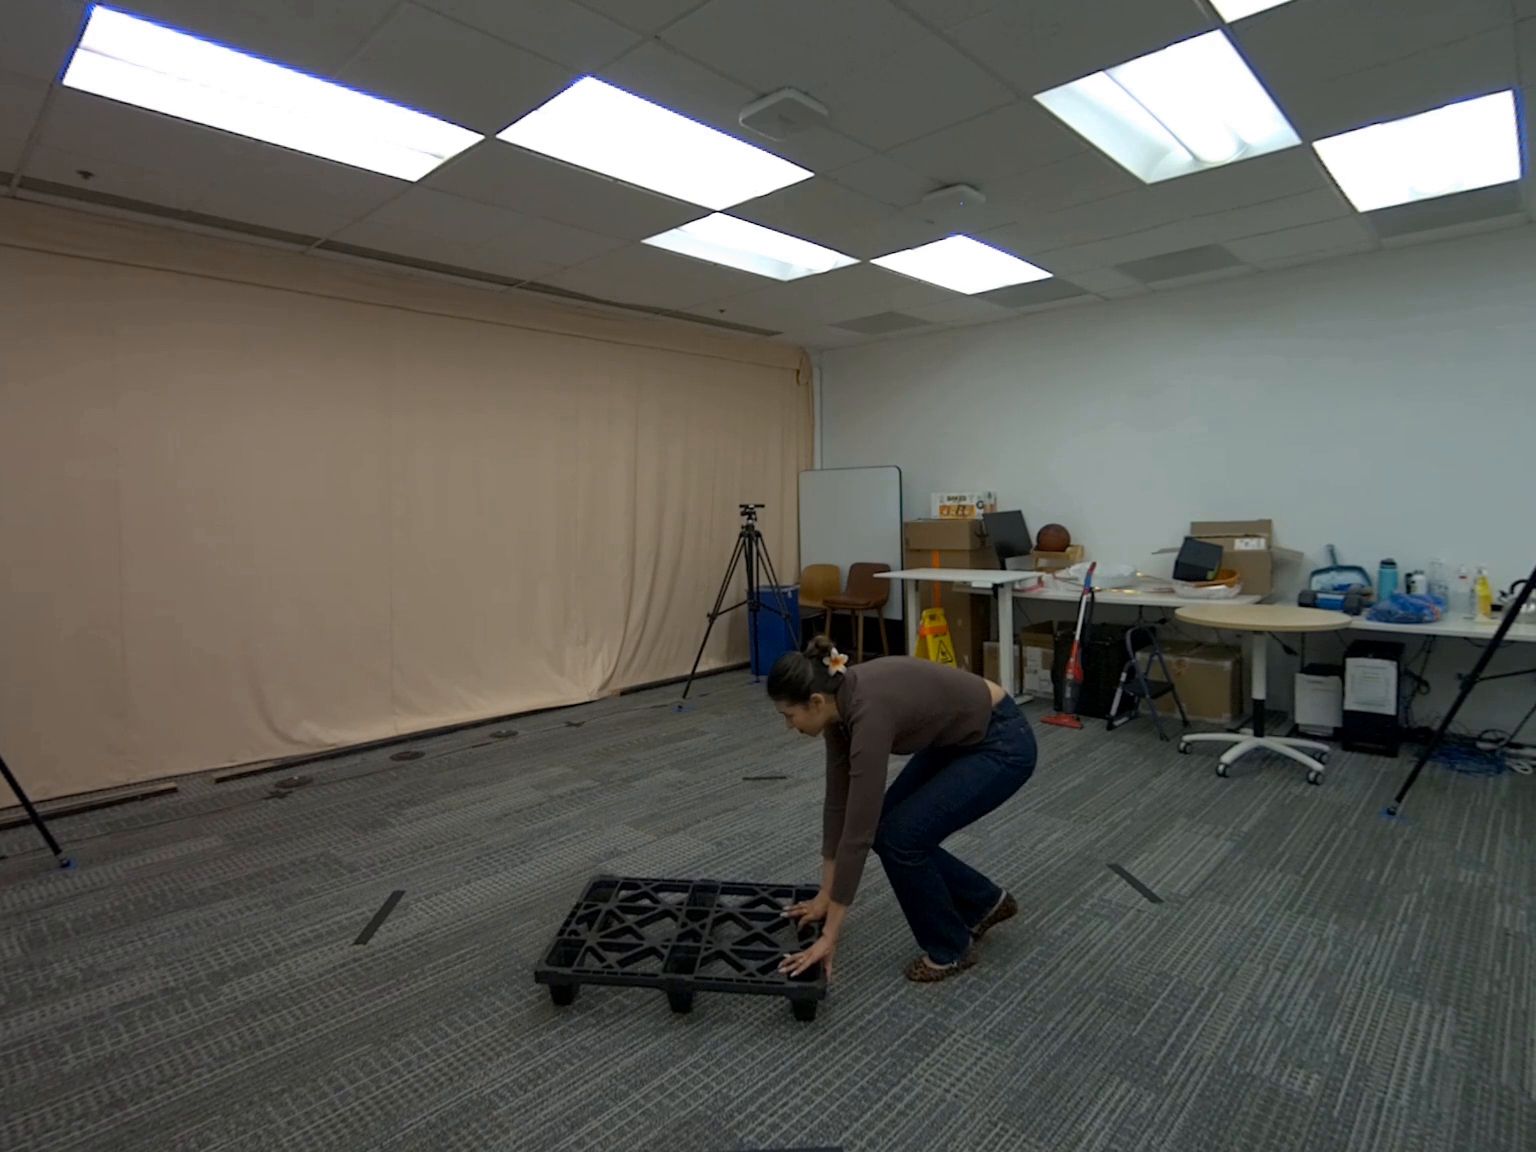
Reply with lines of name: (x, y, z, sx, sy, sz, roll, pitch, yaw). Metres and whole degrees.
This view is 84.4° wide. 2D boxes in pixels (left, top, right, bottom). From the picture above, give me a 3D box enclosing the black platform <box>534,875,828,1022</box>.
black platform: (-0.220, 1.115, 2.537, 0.812, 0.143, 0.602, -1, 6, 6)
